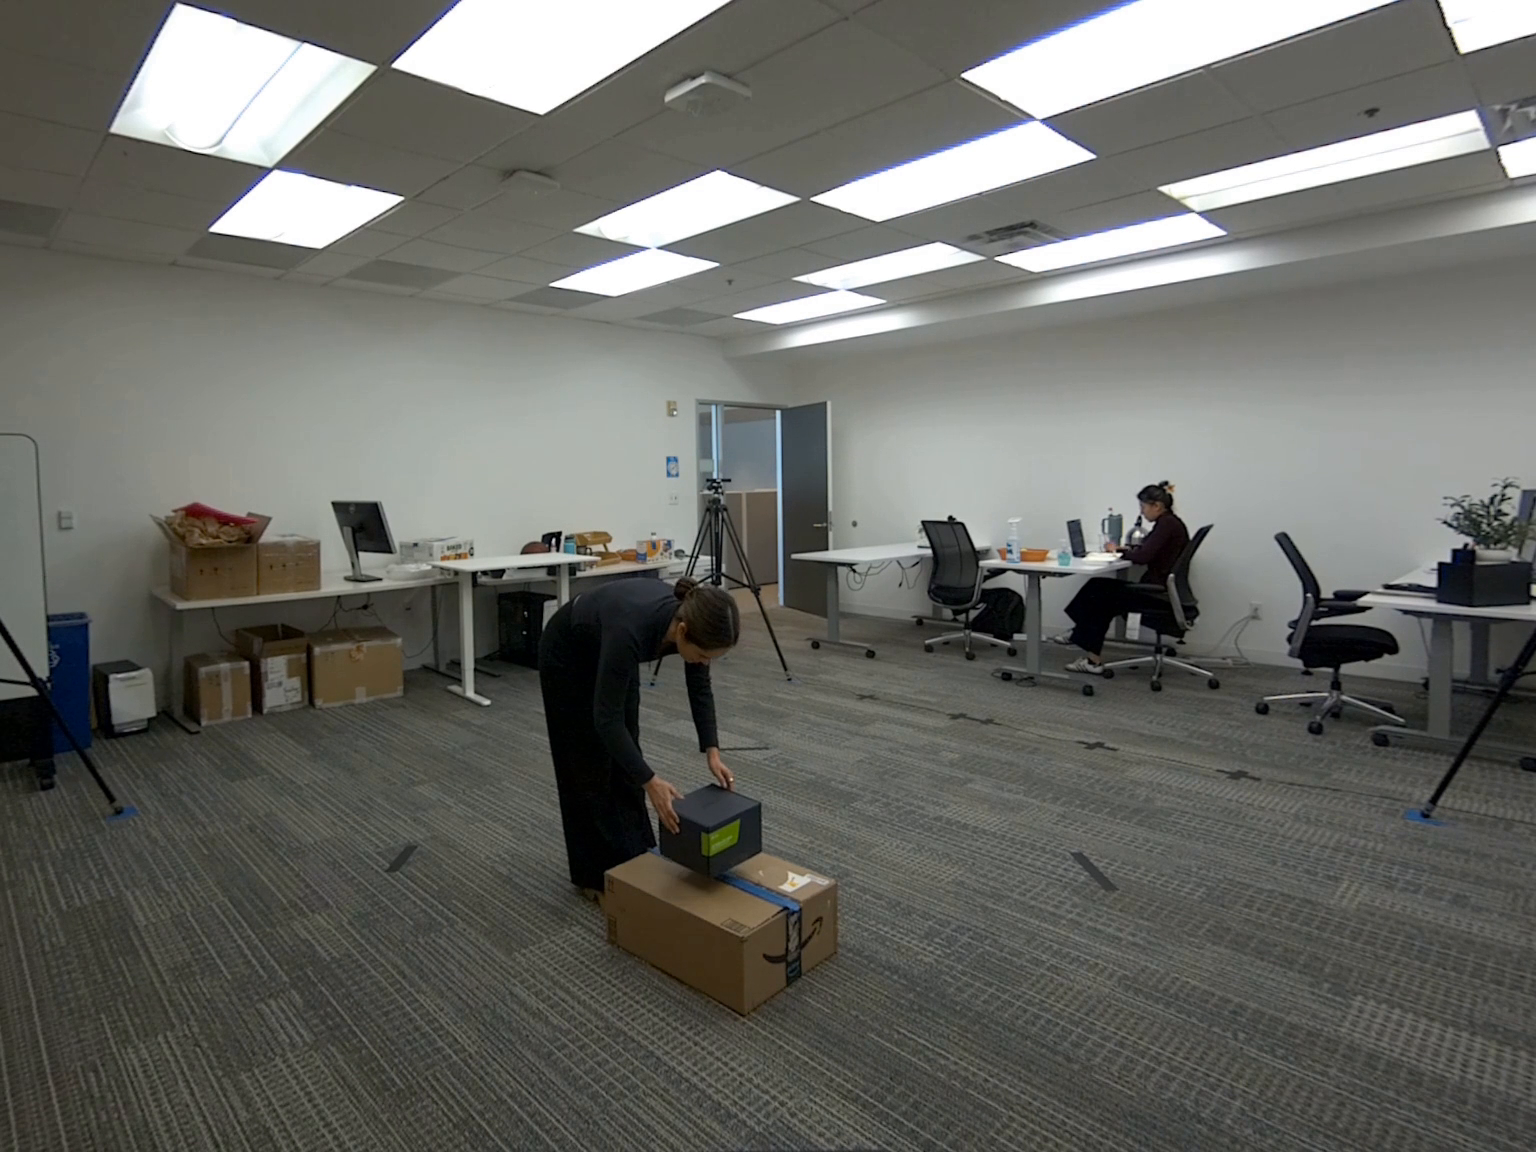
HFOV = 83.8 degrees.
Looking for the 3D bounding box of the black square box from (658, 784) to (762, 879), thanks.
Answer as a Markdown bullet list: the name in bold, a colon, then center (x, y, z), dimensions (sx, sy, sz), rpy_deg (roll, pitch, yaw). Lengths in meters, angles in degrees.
- **black square box**: center (-0.172, 0.755, 2.548), dimensions (0.224, 0.155, 0.222), rpy_deg (7, 11, 41)
